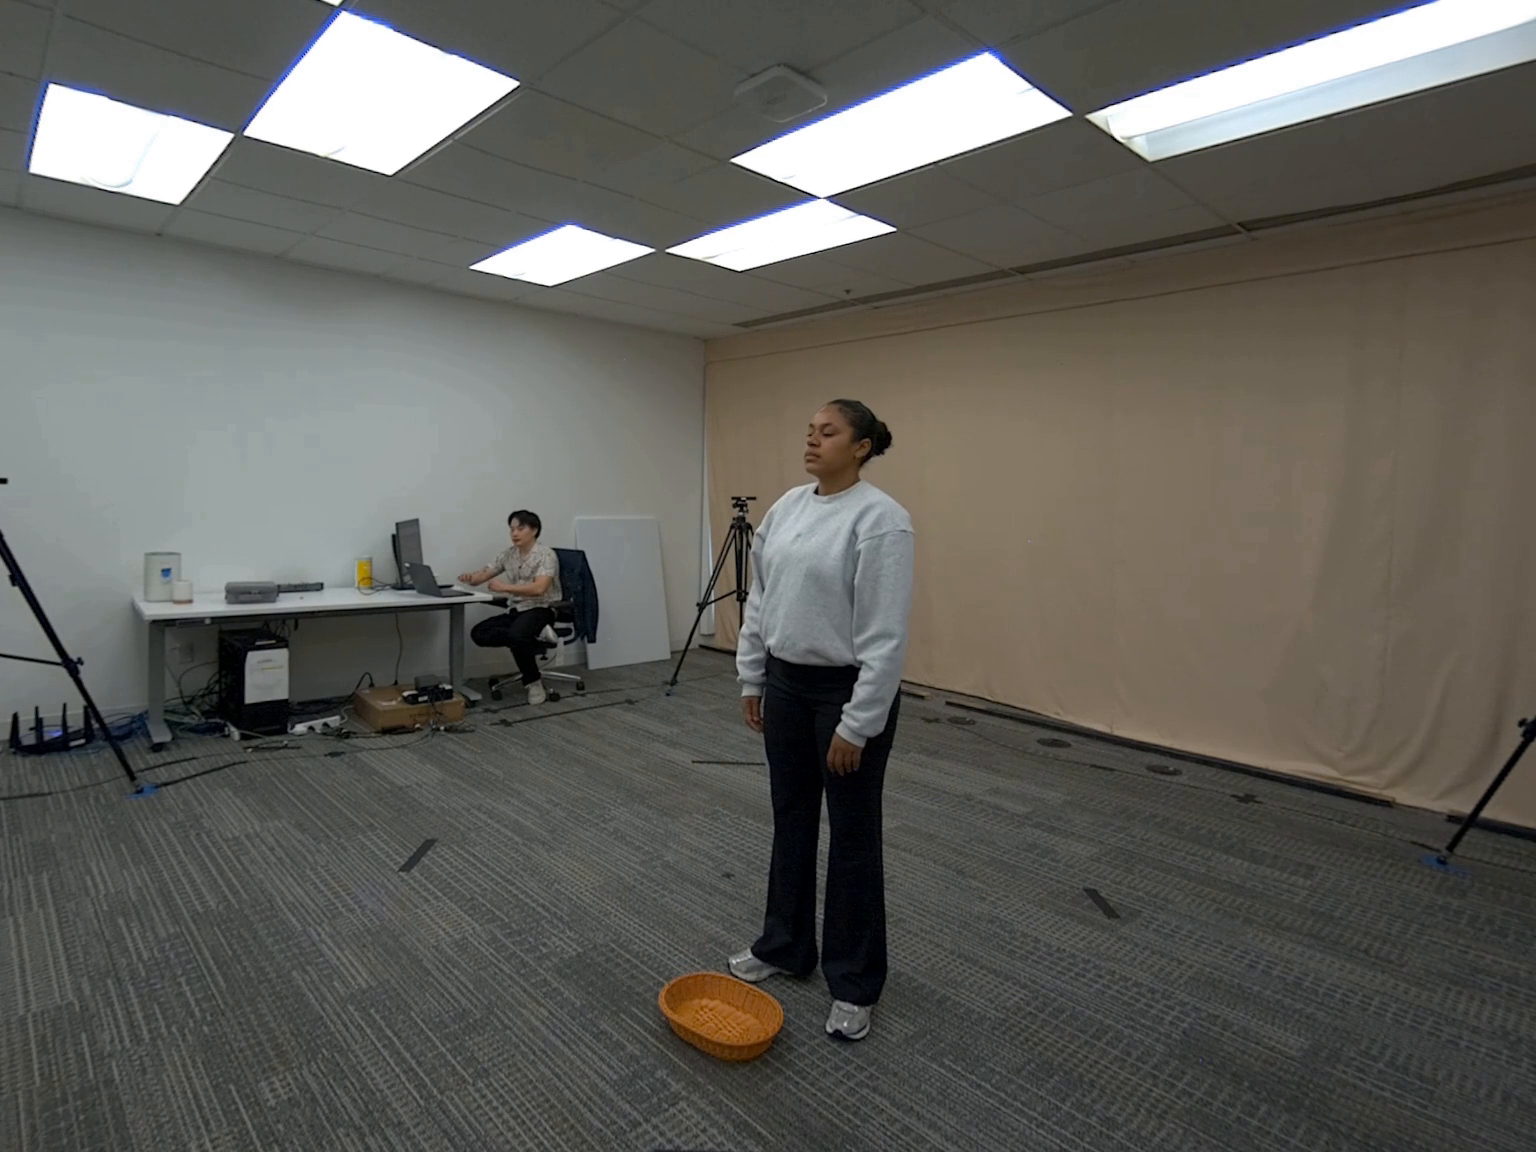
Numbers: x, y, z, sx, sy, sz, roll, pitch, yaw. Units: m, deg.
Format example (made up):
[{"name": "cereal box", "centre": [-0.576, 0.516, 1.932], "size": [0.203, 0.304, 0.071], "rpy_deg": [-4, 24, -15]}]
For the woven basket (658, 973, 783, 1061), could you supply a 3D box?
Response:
[{"name": "woven basket", "centre": [-0.128, 1.152, 2.199], "size": [0.359, 0.073, 0.247], "rpy_deg": [5, 6, 39]}]
